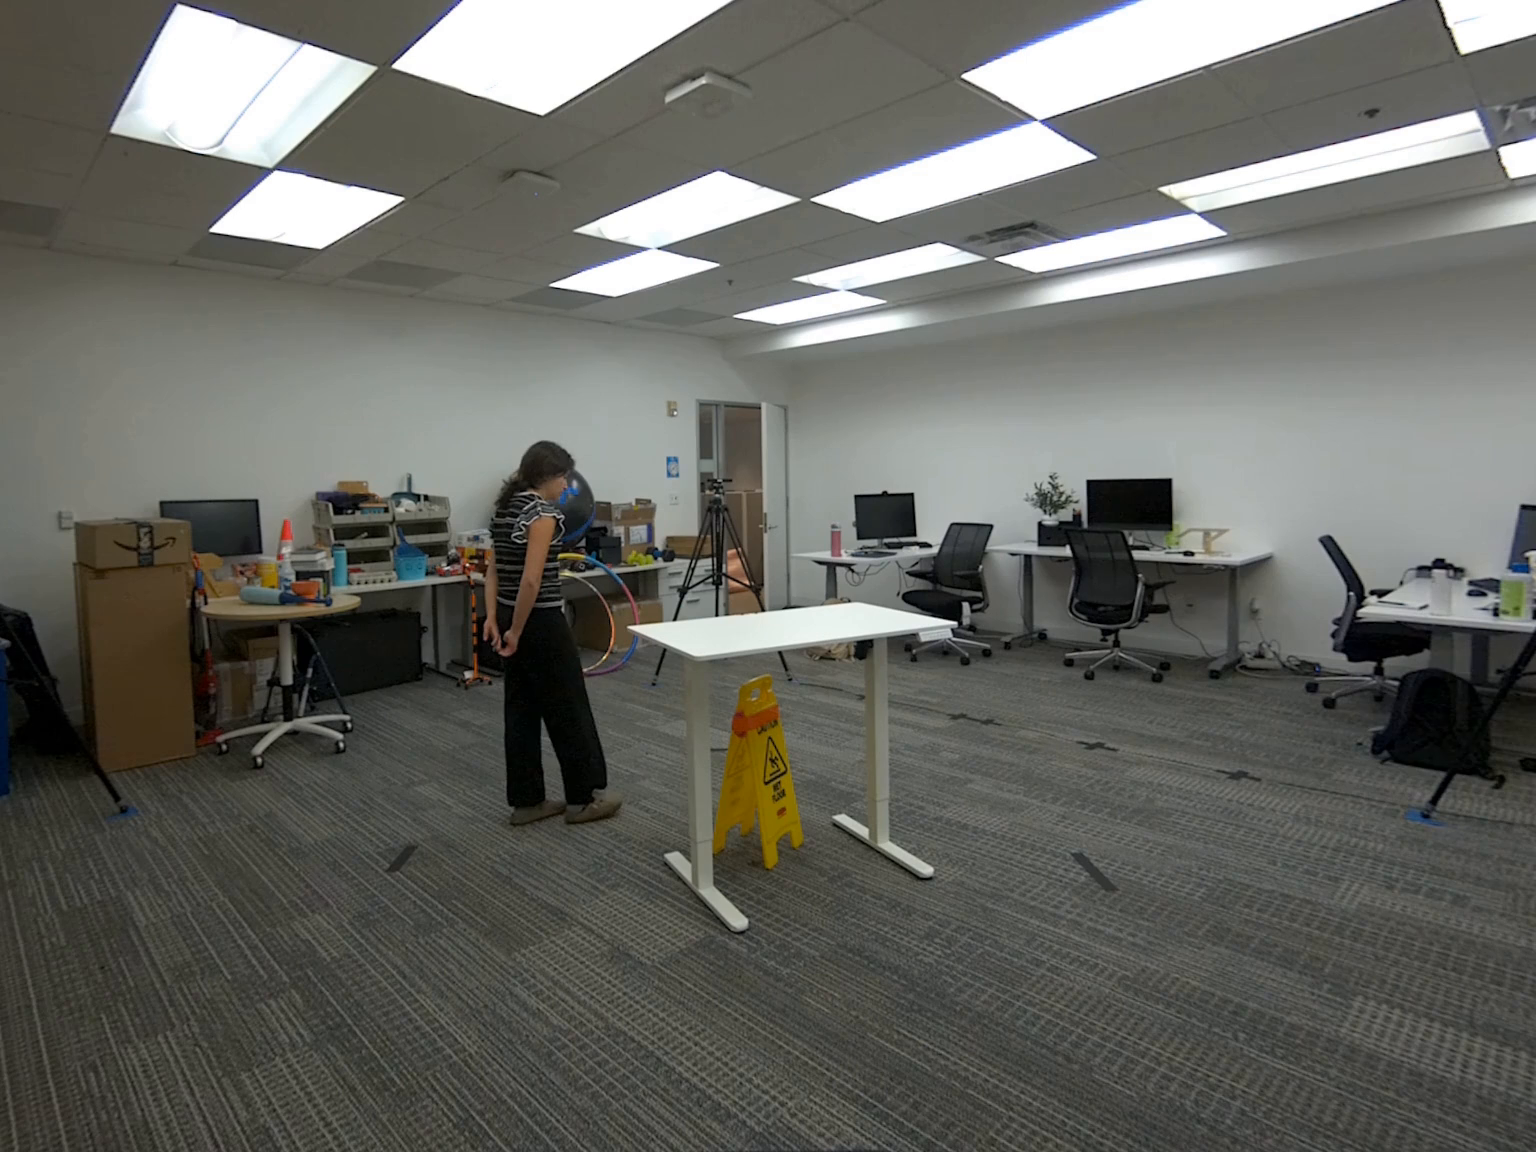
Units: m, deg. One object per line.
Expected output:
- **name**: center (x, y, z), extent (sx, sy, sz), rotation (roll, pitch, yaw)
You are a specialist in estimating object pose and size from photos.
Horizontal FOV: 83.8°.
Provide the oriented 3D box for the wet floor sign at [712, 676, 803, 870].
- **wet floor sign**: center (-0.038, 0.708, 3.211), extent (0.298, 0.644, 0.275), rotation (2, 5, 32)
